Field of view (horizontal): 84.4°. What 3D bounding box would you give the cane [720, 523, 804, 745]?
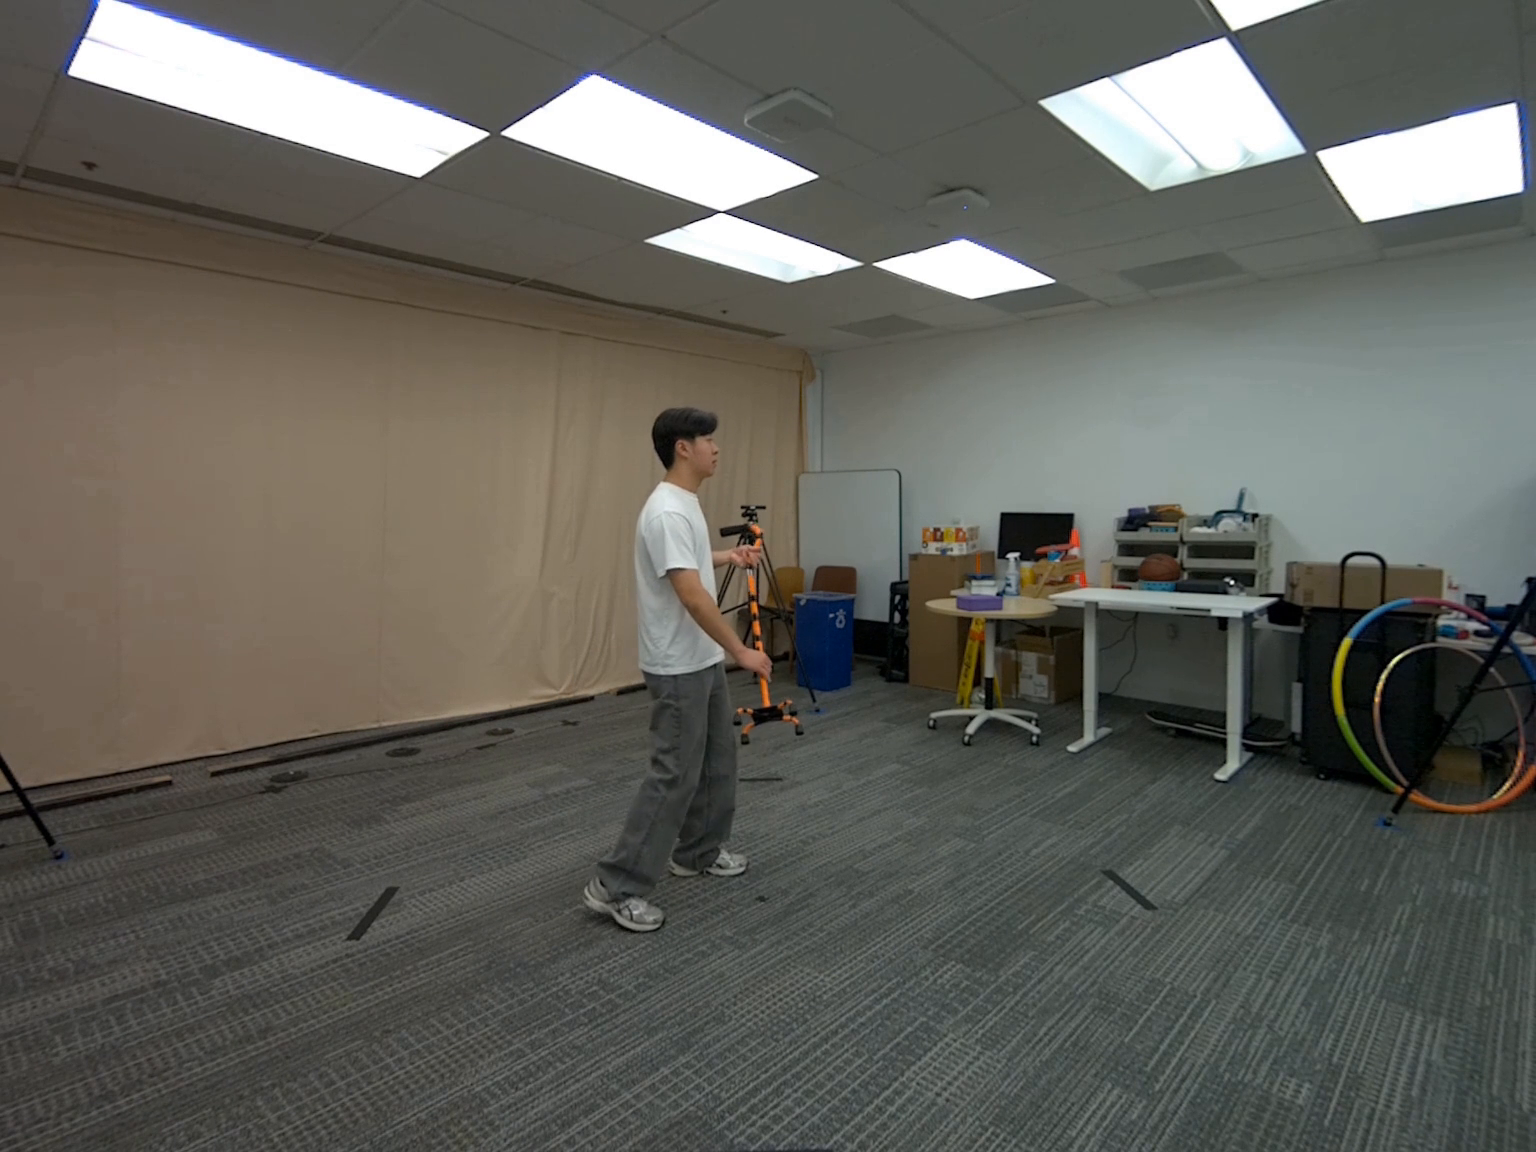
[{"bbox_3d":[-0.016,0.147,2.945,0.208,0.928,0.147,-12,-42,6],"label":"cane"}]
